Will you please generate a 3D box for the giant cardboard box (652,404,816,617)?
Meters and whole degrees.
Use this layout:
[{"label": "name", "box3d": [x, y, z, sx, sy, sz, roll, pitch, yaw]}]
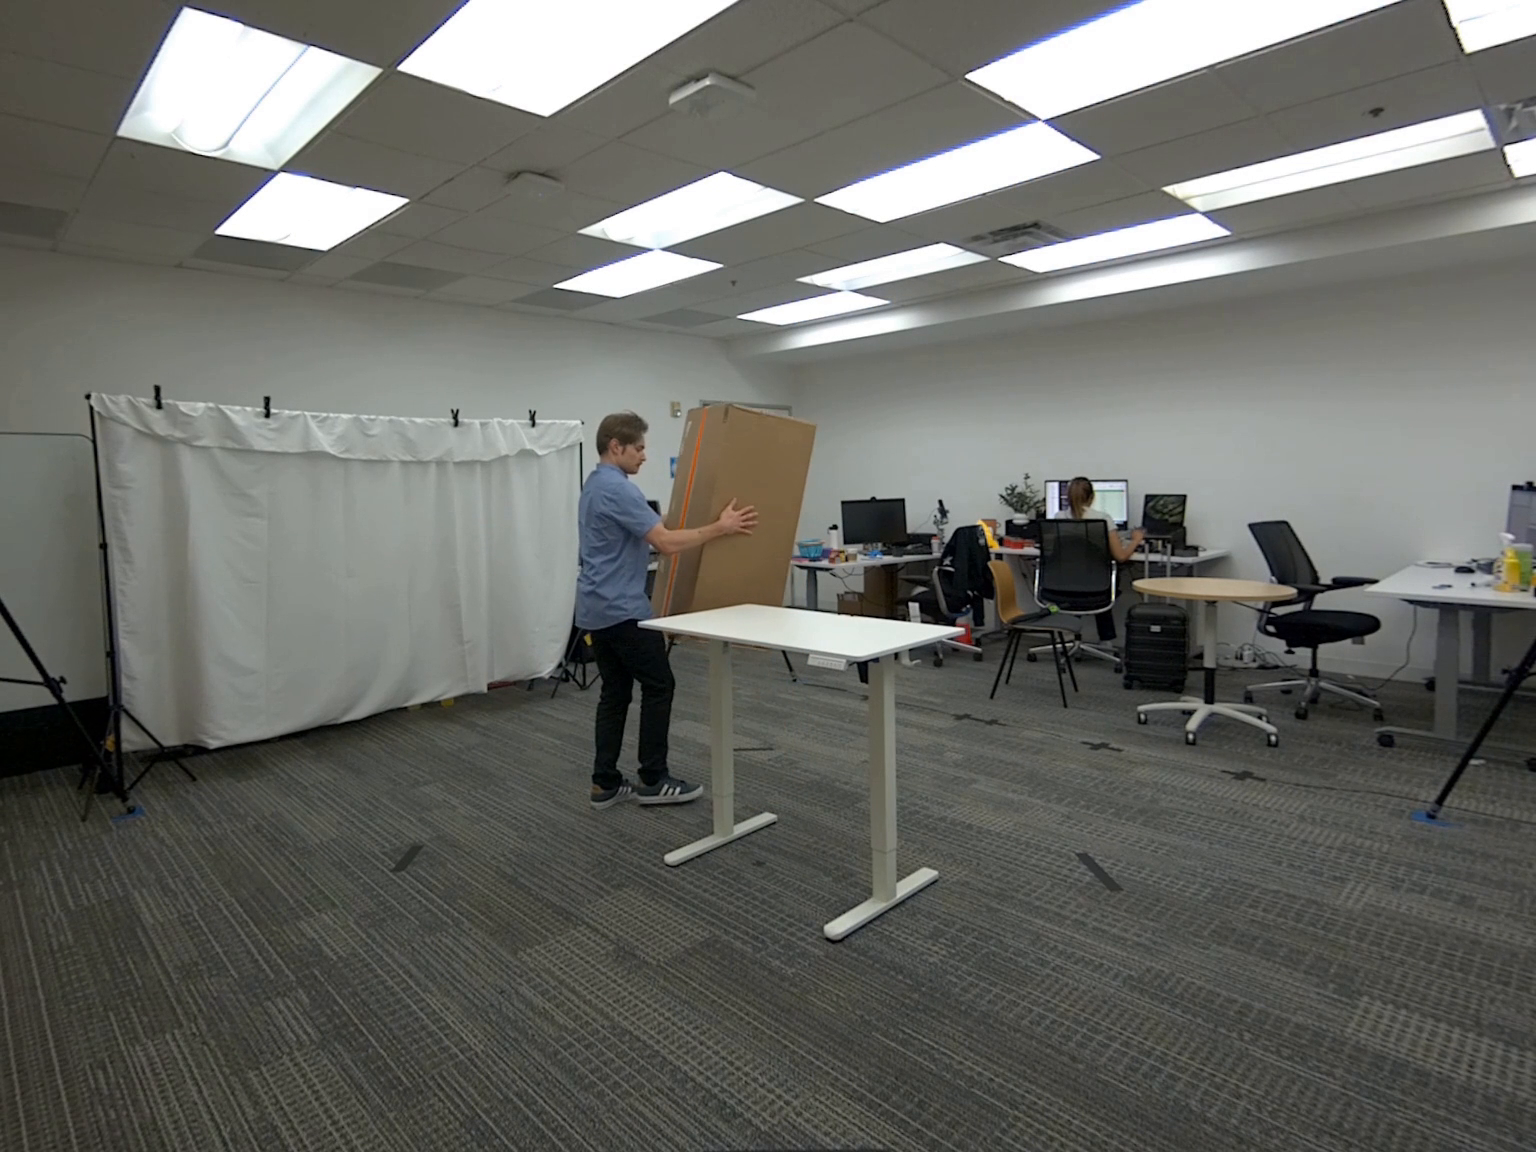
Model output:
[{"label": "giant cardboard box", "box3d": [-0.175, -0.236, 3.929, 0.416, 1.024, 0.592, 9, 2, -23]}]
